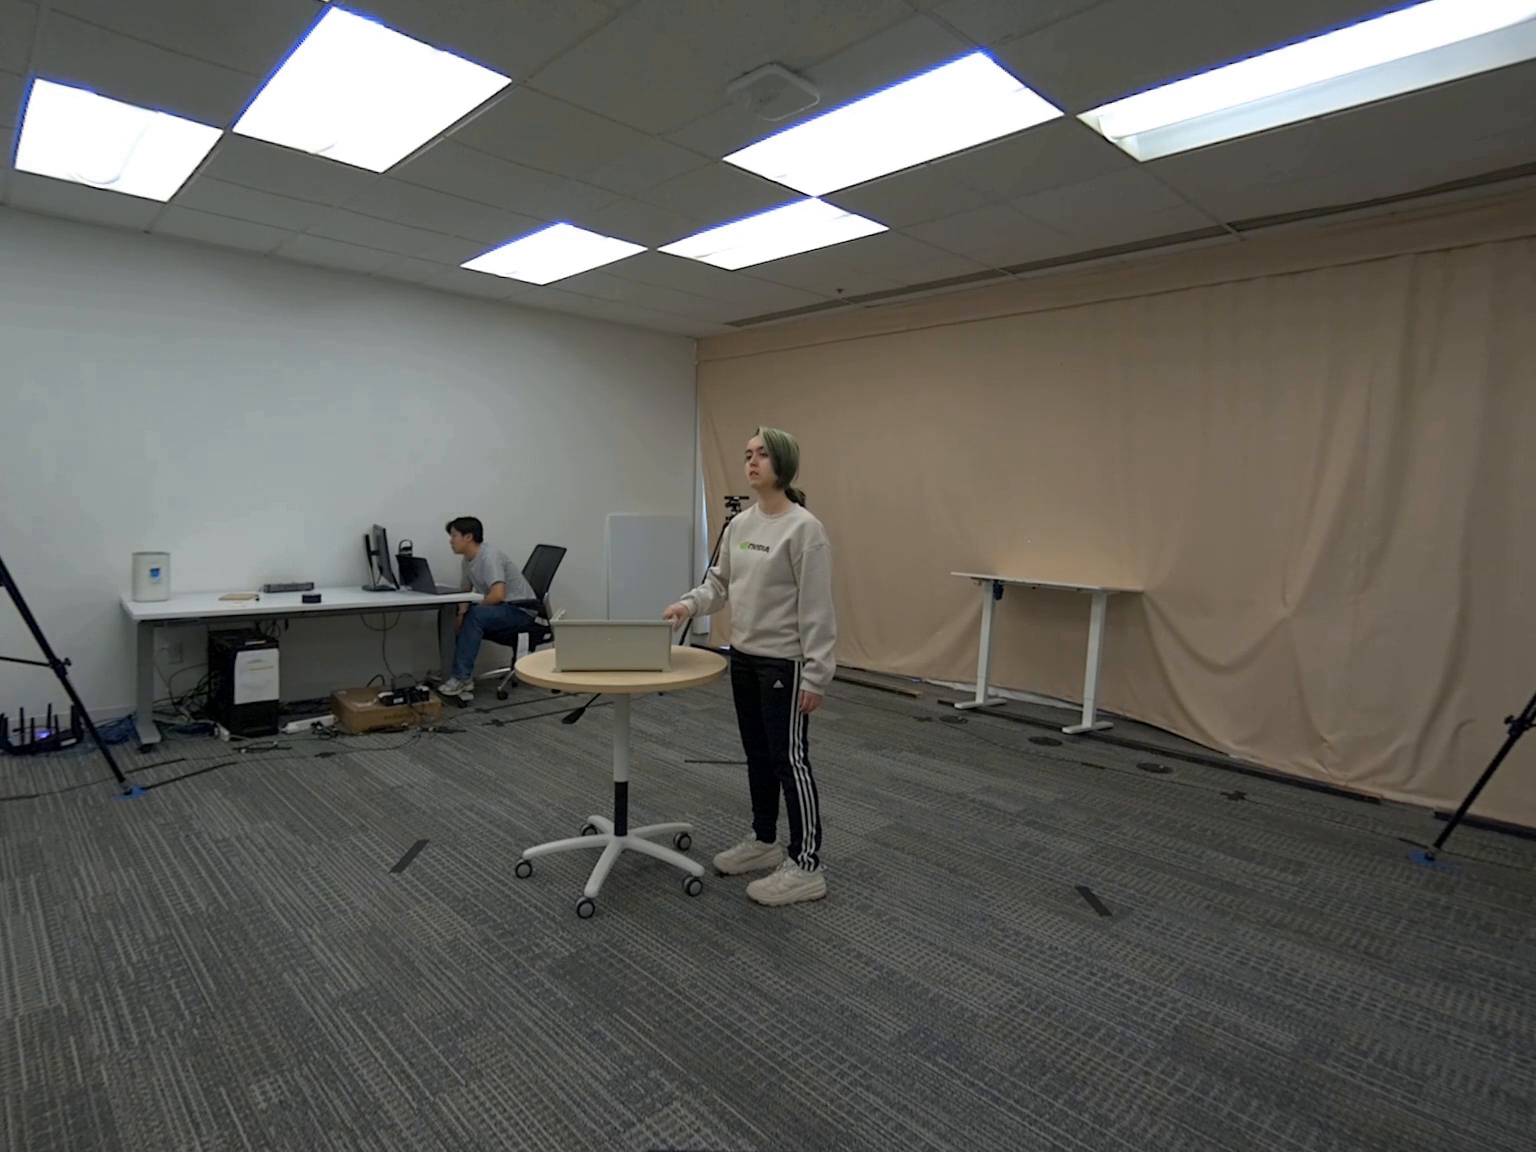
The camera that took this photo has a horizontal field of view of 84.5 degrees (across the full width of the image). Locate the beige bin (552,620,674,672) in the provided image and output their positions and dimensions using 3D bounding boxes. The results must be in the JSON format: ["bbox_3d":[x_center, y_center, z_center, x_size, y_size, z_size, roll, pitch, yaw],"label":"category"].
[{"bbox_3d":[-0.558,0.241,3.058,0.421,0.189,0.379,1,1,-5],"label":"beige bin"}]
